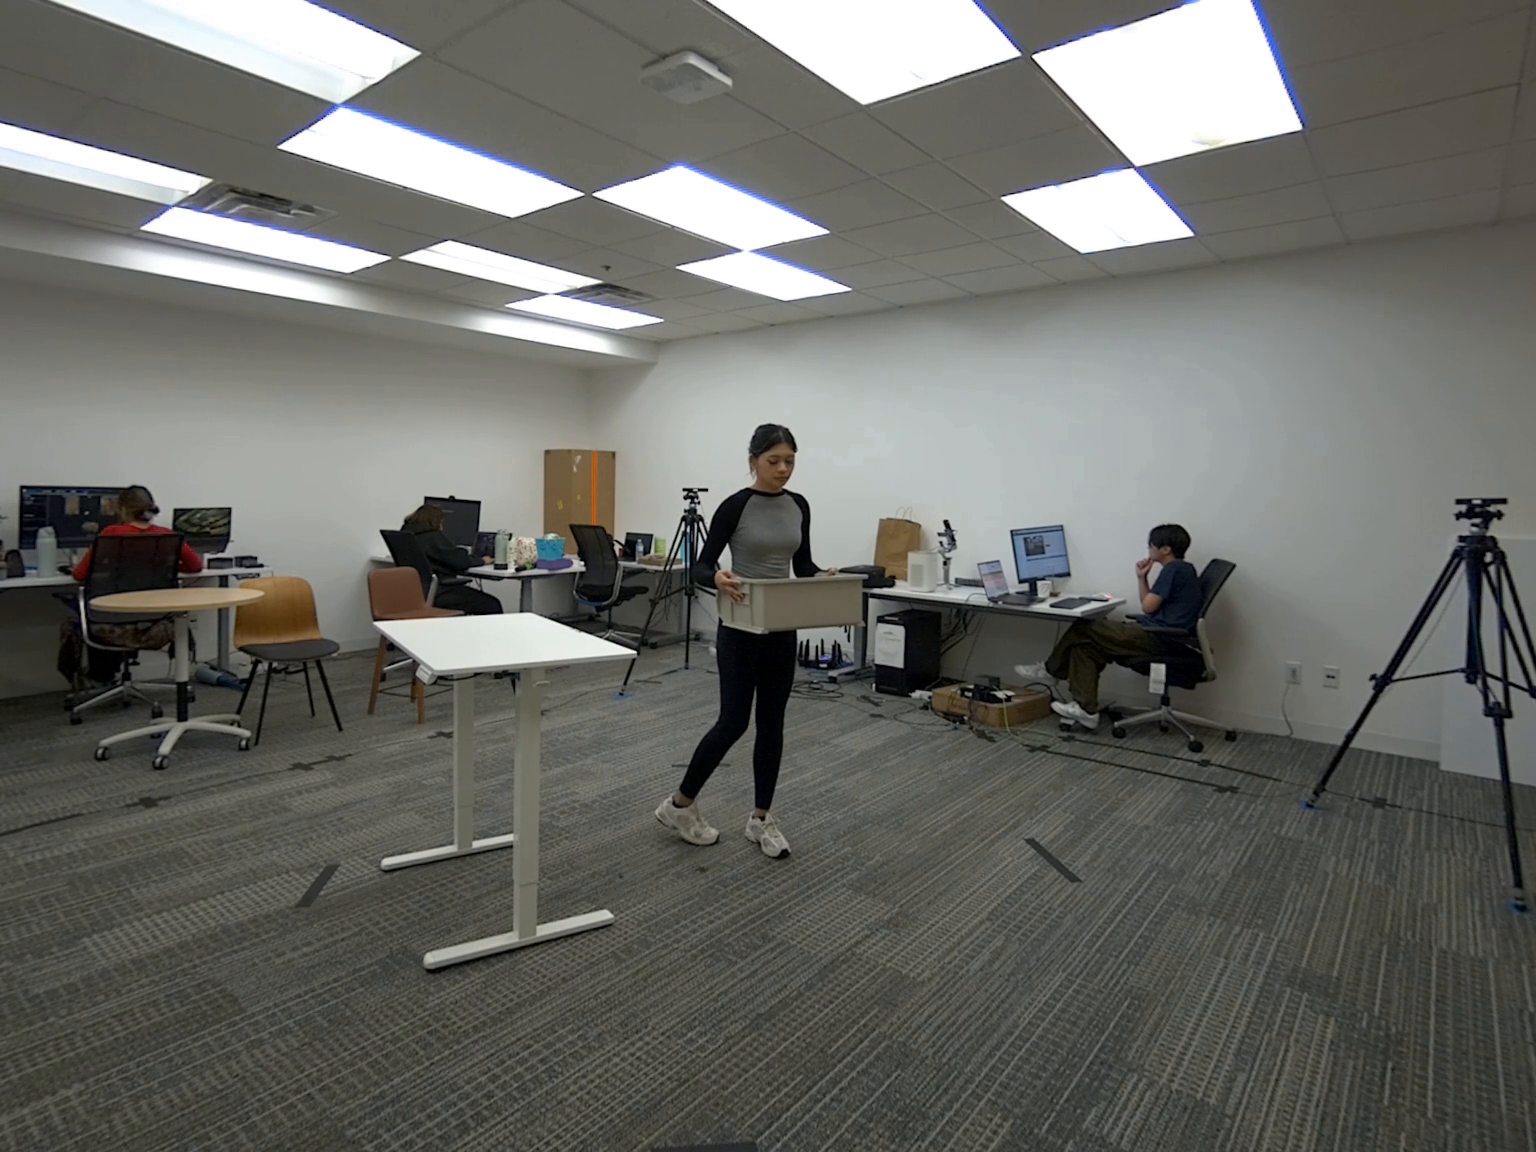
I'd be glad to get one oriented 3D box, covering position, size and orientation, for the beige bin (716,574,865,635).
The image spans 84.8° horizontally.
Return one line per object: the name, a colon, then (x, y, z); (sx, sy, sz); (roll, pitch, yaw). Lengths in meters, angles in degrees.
beige bin: (0.068, 0.086, 3.046); (0.413, 0.188, 0.387); (-1, 4, -24)
